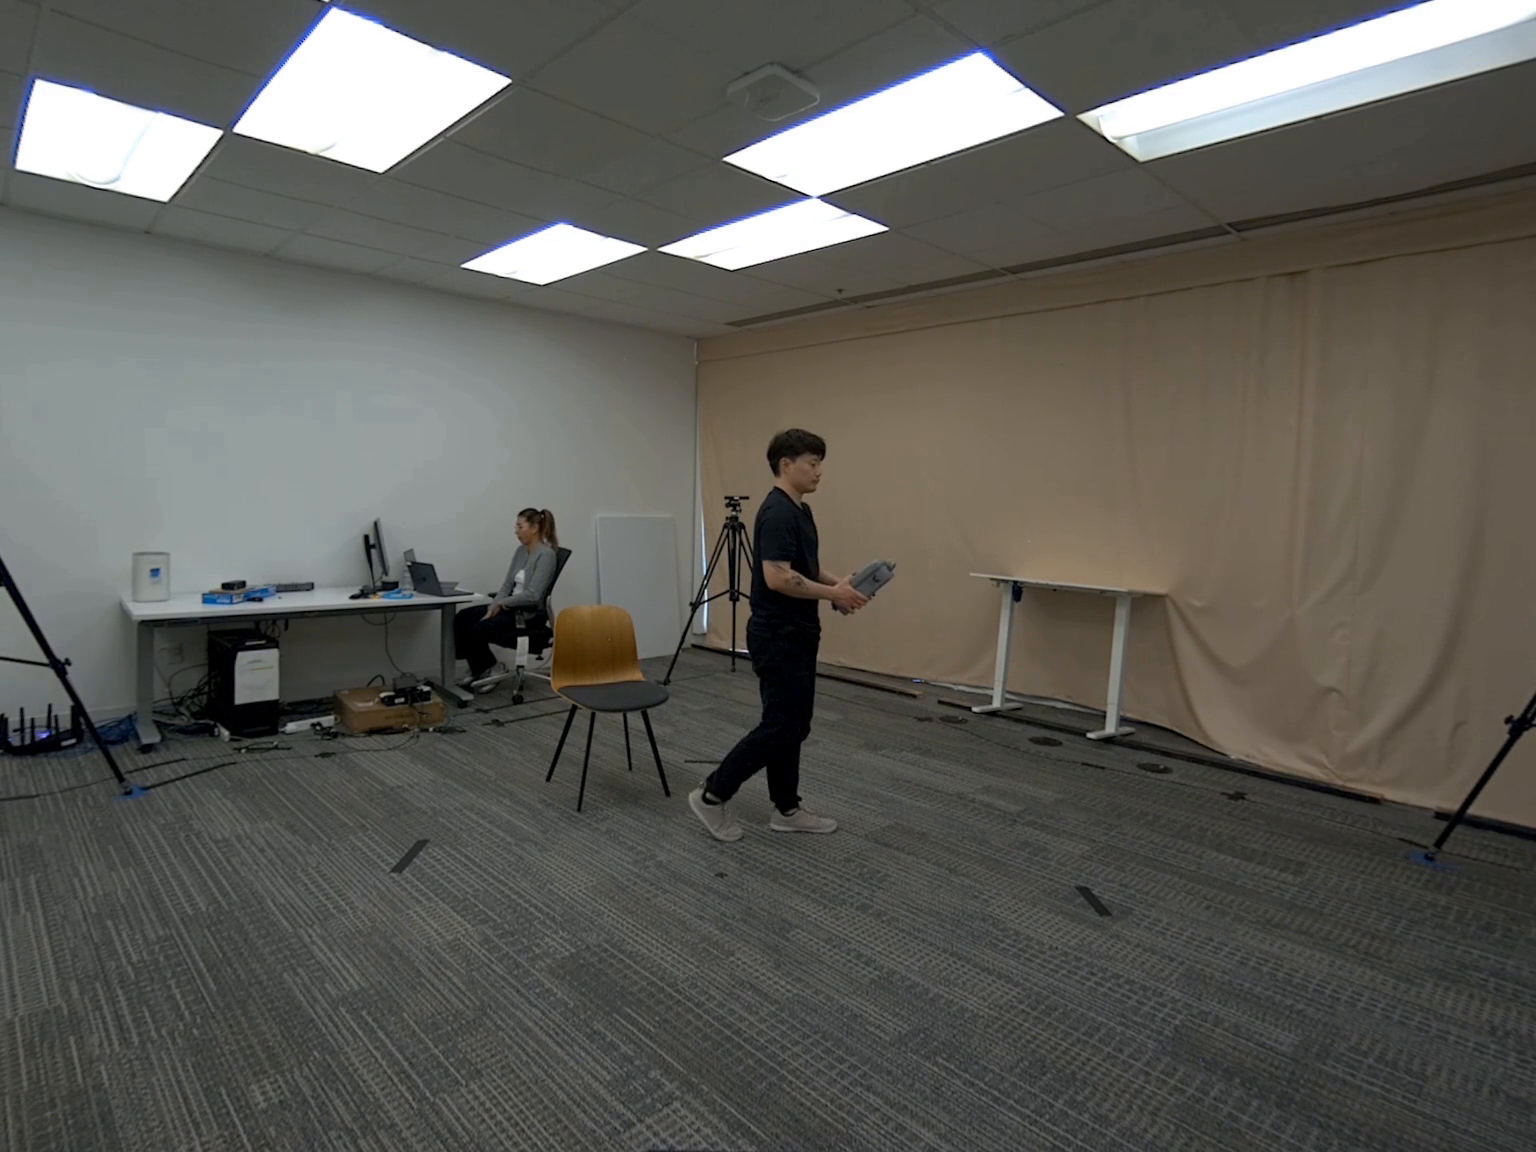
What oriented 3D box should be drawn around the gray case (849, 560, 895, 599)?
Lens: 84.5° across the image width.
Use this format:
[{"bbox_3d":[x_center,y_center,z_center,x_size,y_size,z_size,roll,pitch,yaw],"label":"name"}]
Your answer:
[{"bbox_3d":[0.357,0.034,3.402,0.261,0.105,0.255,-40,-3,7],"label":"gray case"}]
